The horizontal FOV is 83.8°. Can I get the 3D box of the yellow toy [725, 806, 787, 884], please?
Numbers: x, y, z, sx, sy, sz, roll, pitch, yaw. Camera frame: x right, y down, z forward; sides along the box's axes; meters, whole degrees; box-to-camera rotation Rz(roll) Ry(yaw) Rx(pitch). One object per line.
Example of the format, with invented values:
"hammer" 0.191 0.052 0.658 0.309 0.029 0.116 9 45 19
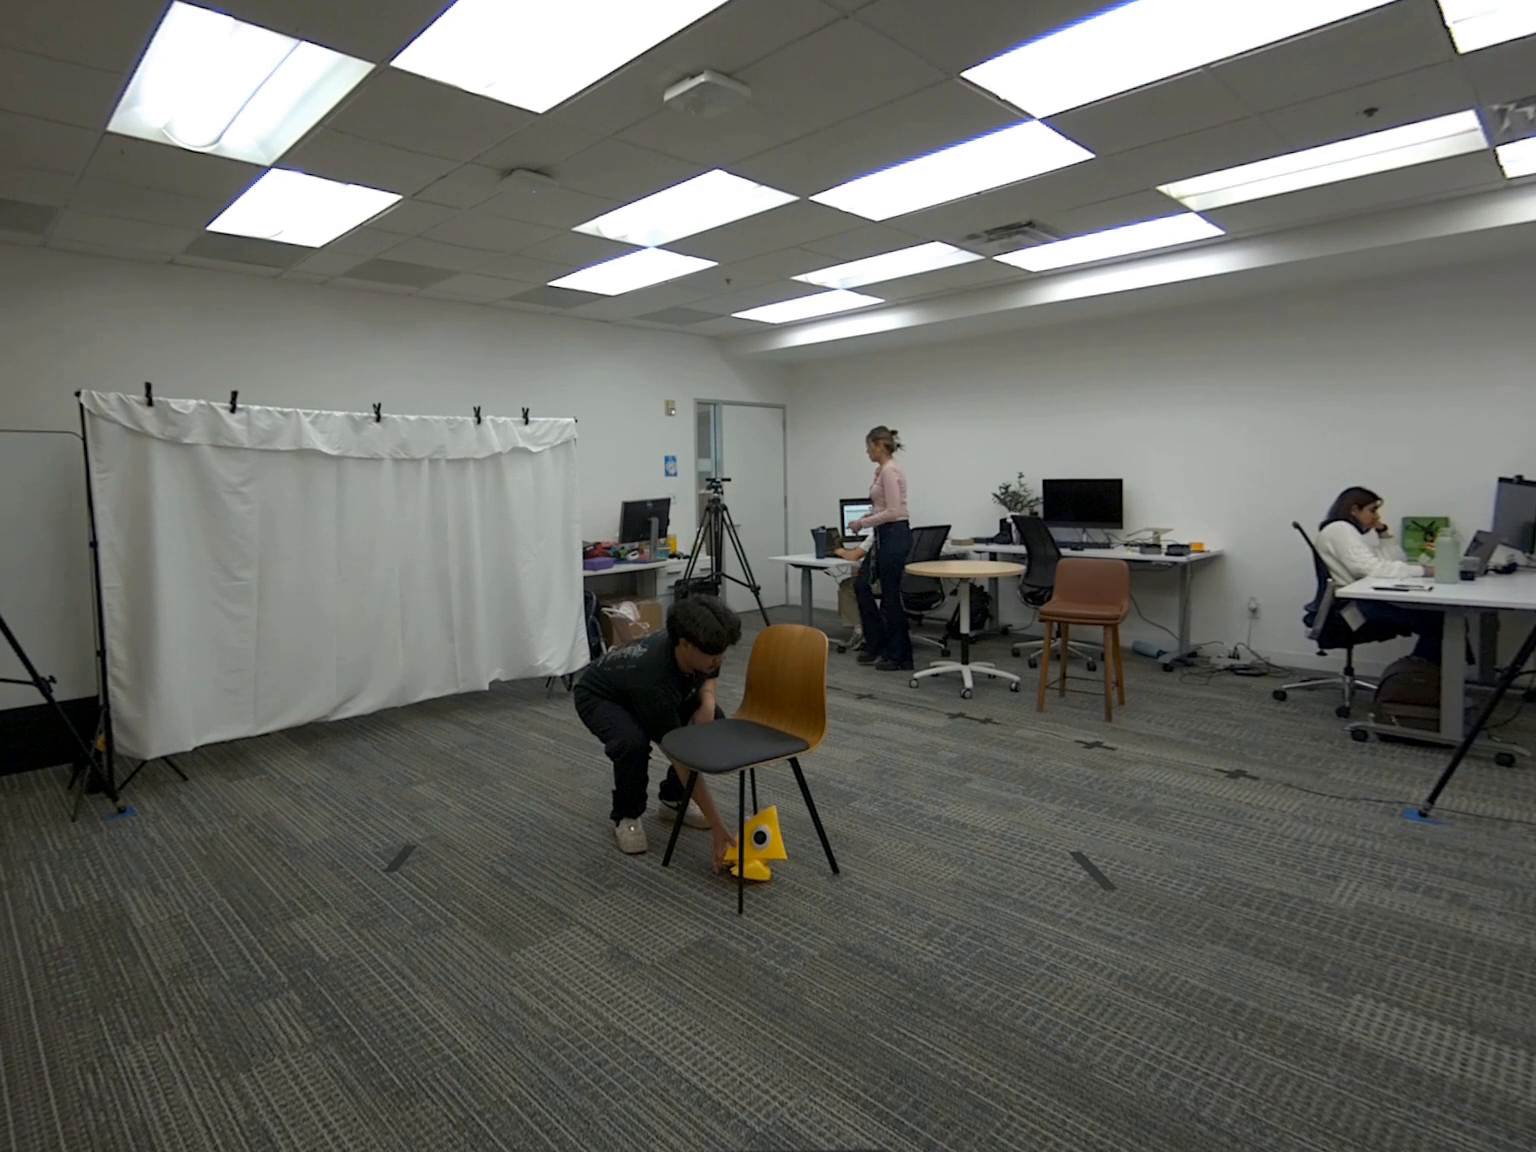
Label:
"yellow toy" -0.053 0.928 3.025 0.188 0.231 0.210 14 -4 -28
